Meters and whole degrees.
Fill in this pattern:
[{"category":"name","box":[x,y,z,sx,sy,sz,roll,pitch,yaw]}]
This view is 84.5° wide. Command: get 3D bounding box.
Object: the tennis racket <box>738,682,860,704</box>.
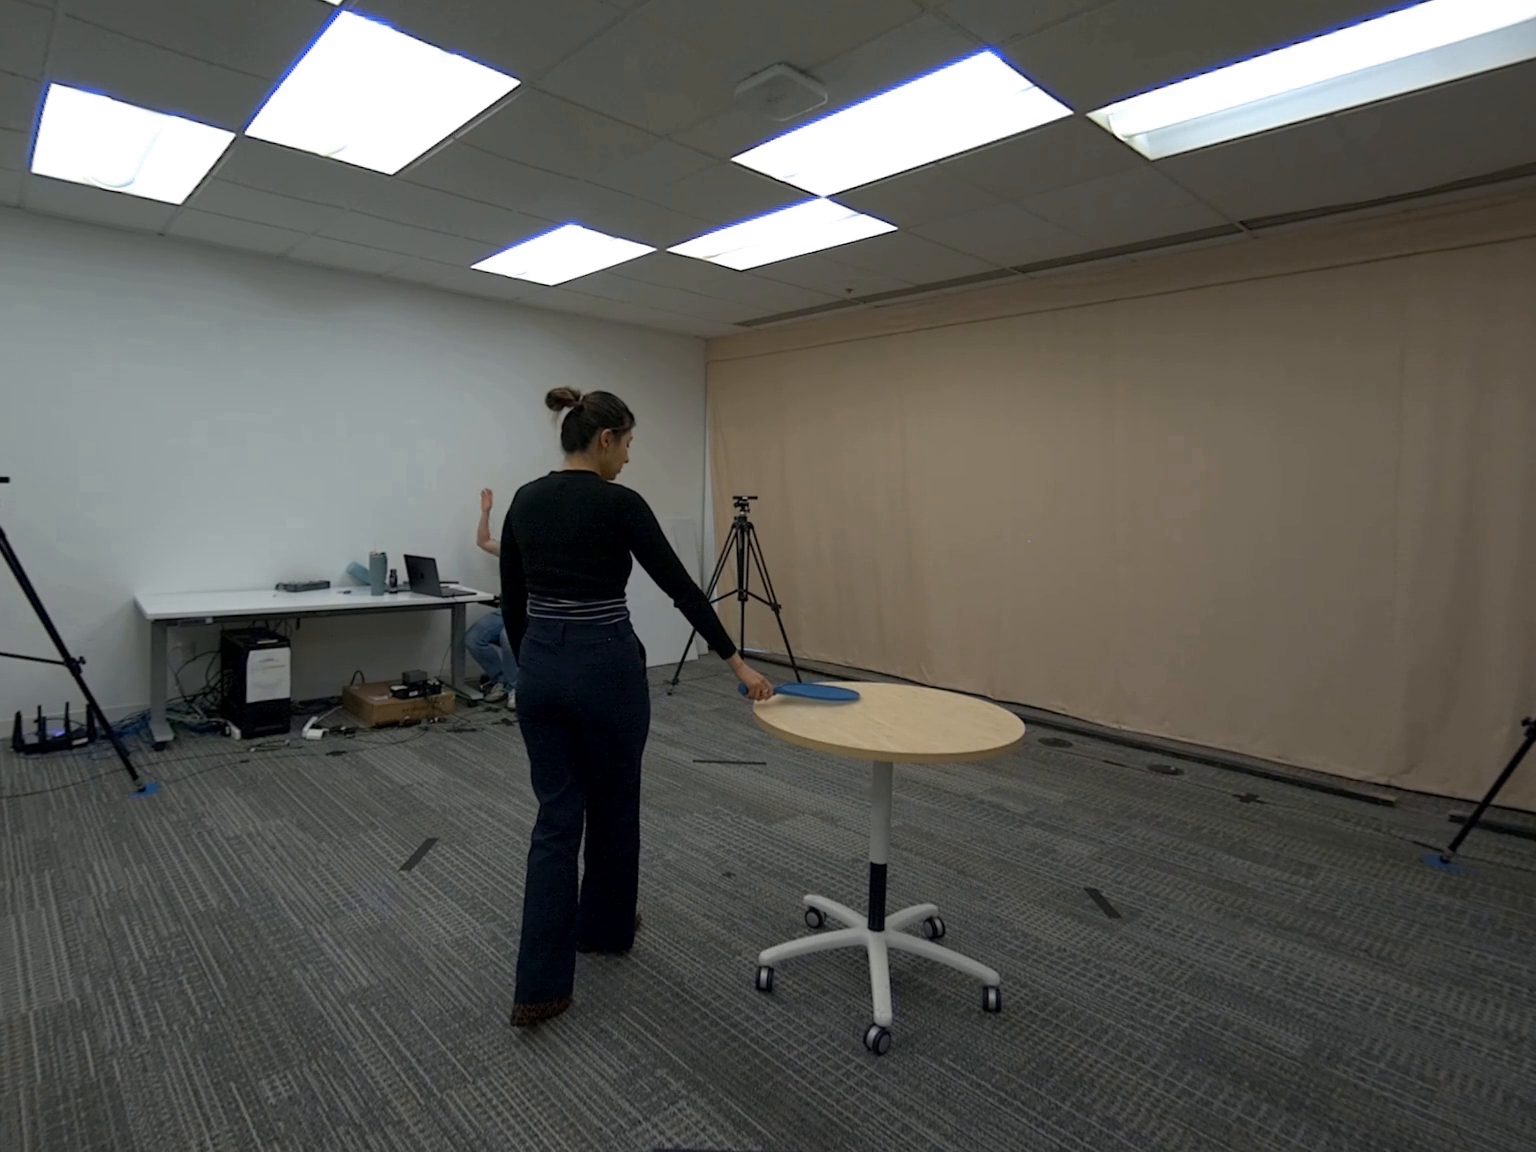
[{"category":"tennis racket","box":[0.099,0.352,2.525,0.422,0.032,0.219,4,4,-40]}]
